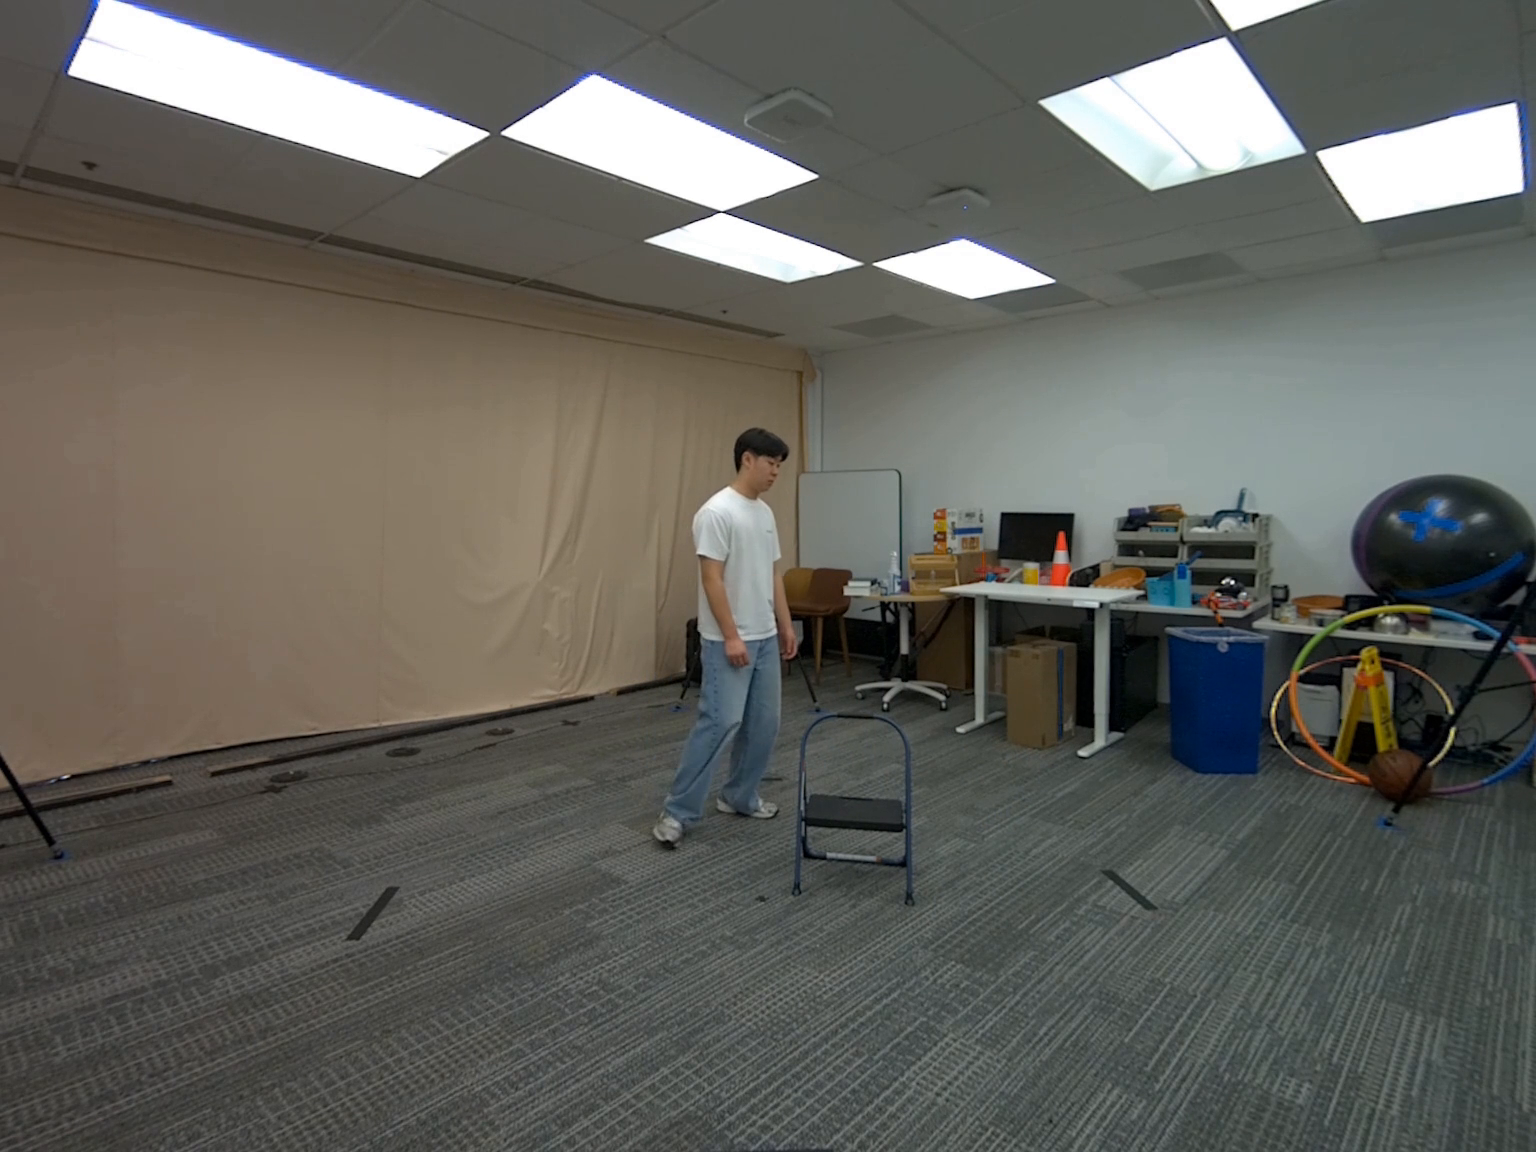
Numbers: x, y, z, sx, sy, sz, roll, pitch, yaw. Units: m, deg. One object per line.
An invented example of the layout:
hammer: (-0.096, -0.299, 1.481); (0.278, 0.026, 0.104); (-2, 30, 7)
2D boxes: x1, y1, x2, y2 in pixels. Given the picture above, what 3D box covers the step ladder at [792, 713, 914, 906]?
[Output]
step ladder: (0.329, 0.828, 3.124); (0.436, 0.605, 0.346); (1, 3, 10)
